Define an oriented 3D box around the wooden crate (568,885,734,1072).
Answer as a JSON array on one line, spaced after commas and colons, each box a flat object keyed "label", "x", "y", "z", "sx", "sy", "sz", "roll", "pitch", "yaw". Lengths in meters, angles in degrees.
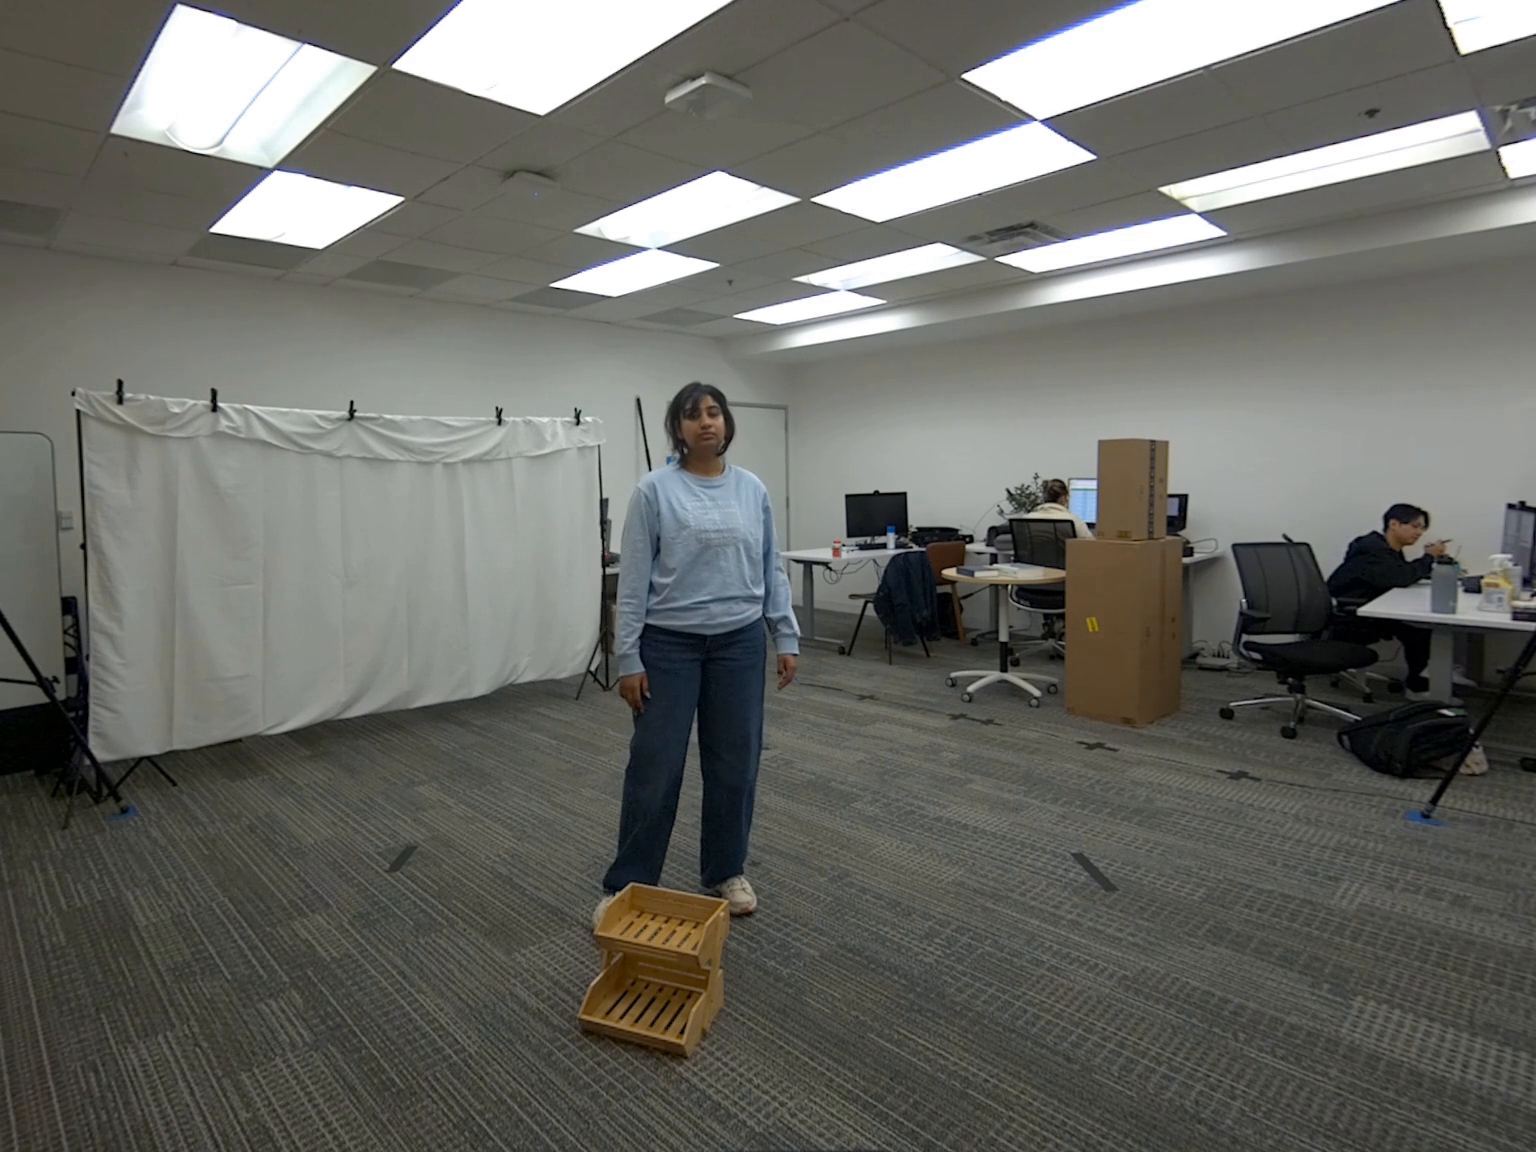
[{"label": "wooden crate", "x": -0.300, "y": 1.030, "z": 2.243, "sx": 0.331, "sy": 0.272, "sz": 0.297, "roll": 1, "pitch": 4, "yaw": 21}]
